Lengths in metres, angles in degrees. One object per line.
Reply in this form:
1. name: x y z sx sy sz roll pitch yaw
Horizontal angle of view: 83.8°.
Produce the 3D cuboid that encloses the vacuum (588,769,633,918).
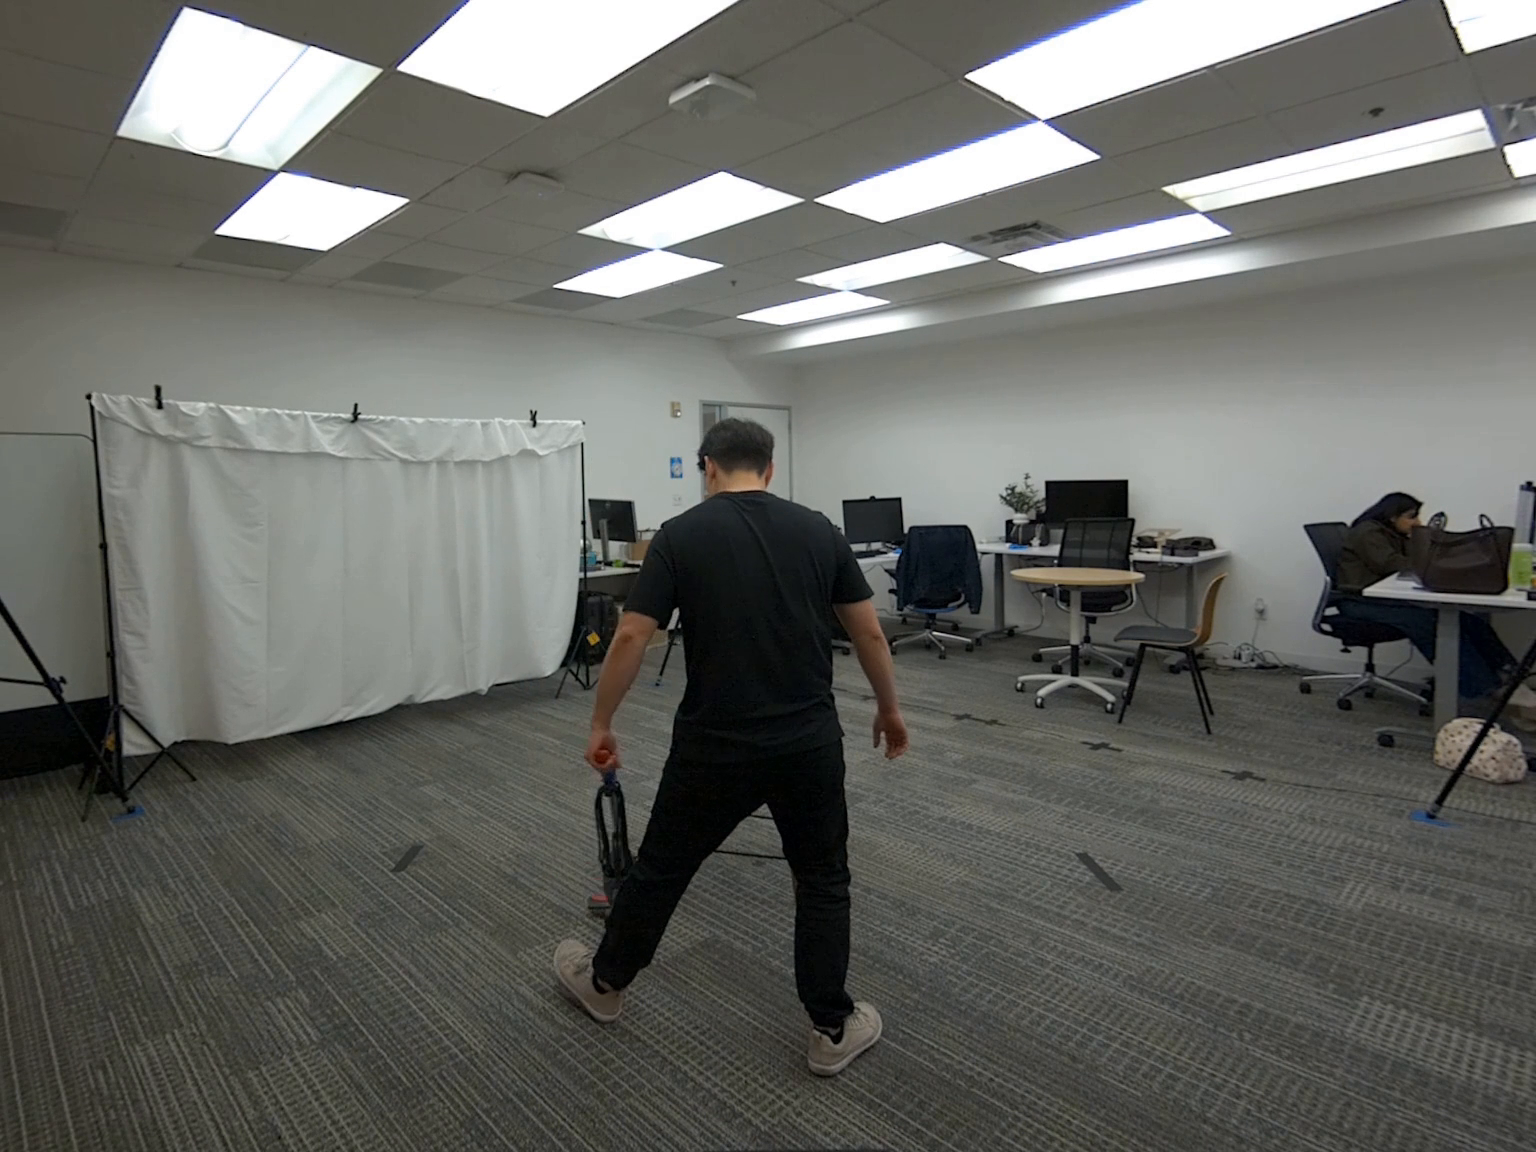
1. vacuum: -0.424 0.749 2.367 0.251 0.148 1.024 0 -42 -7
